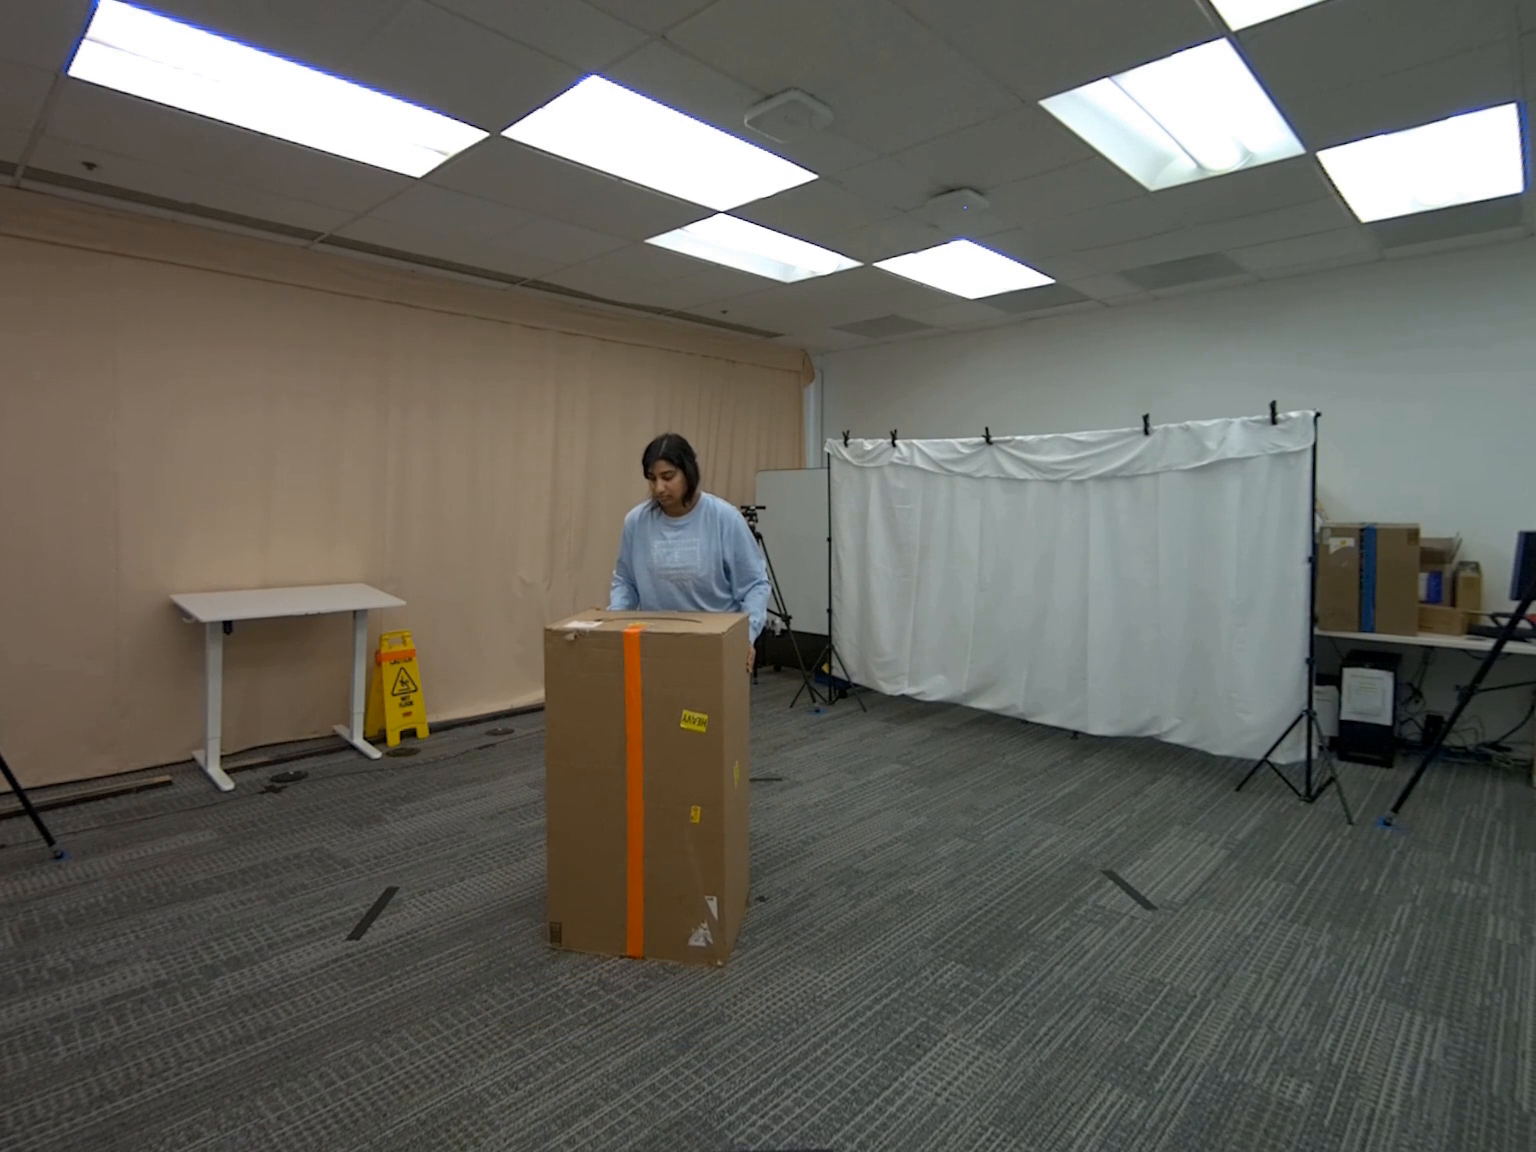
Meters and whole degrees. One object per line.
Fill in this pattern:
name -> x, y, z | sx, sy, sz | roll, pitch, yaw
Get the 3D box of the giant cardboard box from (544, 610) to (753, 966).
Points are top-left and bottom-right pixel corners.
giant cardboard box -> -0.378, 0.652, 2.765 | 0.585, 1.023, 0.422 | 1, 4, 11
